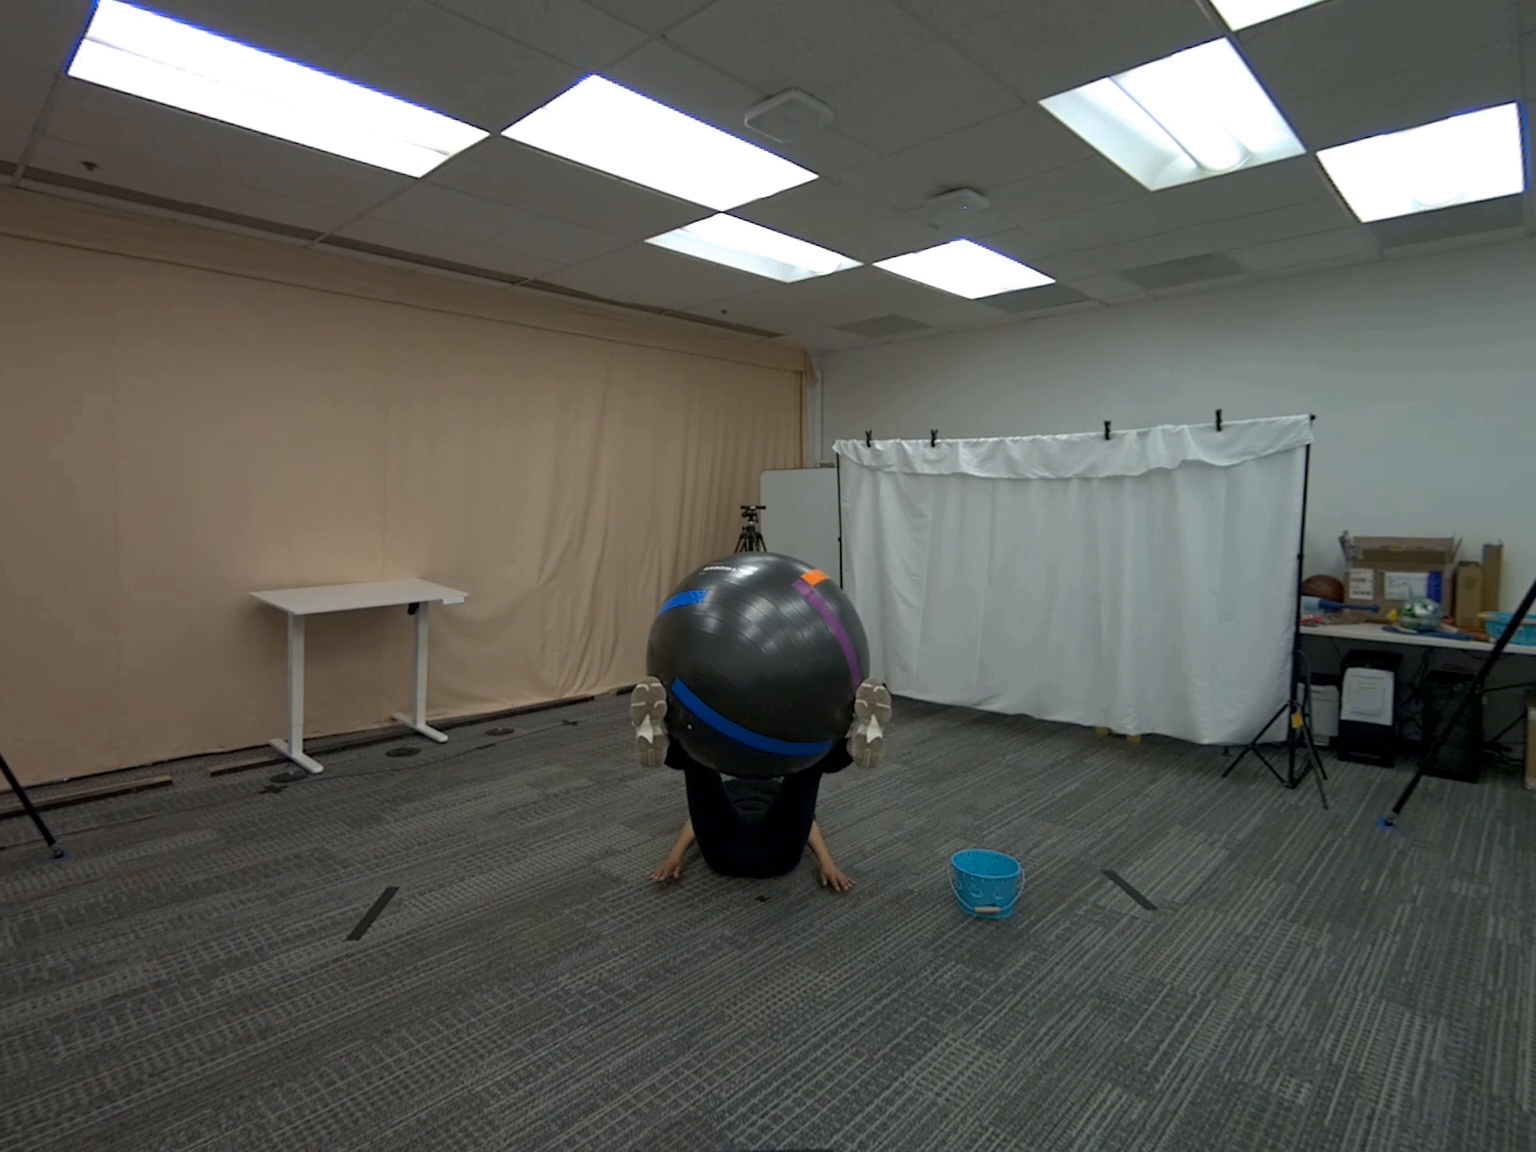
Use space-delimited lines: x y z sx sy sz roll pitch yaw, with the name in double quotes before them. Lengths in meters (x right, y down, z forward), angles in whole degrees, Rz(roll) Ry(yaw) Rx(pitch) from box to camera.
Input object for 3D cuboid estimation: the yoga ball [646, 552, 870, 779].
"yoga ball" -0.042 0.300 2.859 0.757 0.756 0.760 0 4 -2
